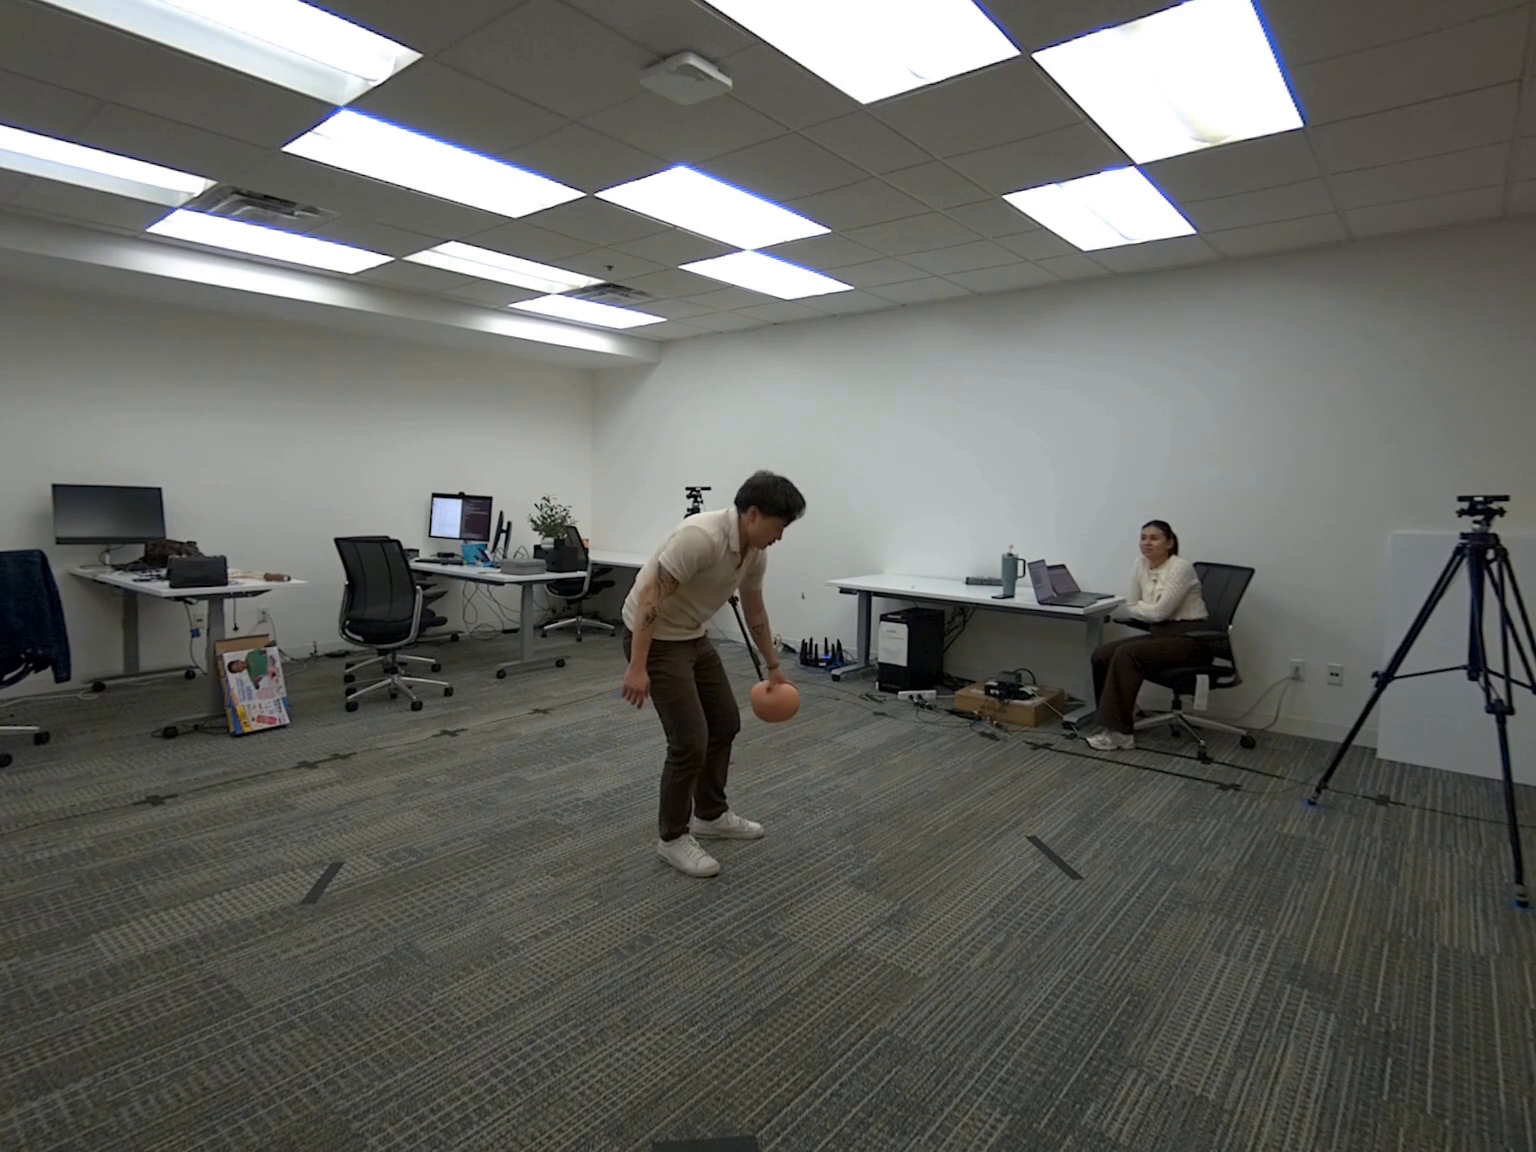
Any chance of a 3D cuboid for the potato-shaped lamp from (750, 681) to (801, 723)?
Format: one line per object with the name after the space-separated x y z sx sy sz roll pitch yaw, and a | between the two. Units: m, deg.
0.025 0.504 3.451 0.202 0.174 0.158 -19 -21 37 | potato-shaped lamp
